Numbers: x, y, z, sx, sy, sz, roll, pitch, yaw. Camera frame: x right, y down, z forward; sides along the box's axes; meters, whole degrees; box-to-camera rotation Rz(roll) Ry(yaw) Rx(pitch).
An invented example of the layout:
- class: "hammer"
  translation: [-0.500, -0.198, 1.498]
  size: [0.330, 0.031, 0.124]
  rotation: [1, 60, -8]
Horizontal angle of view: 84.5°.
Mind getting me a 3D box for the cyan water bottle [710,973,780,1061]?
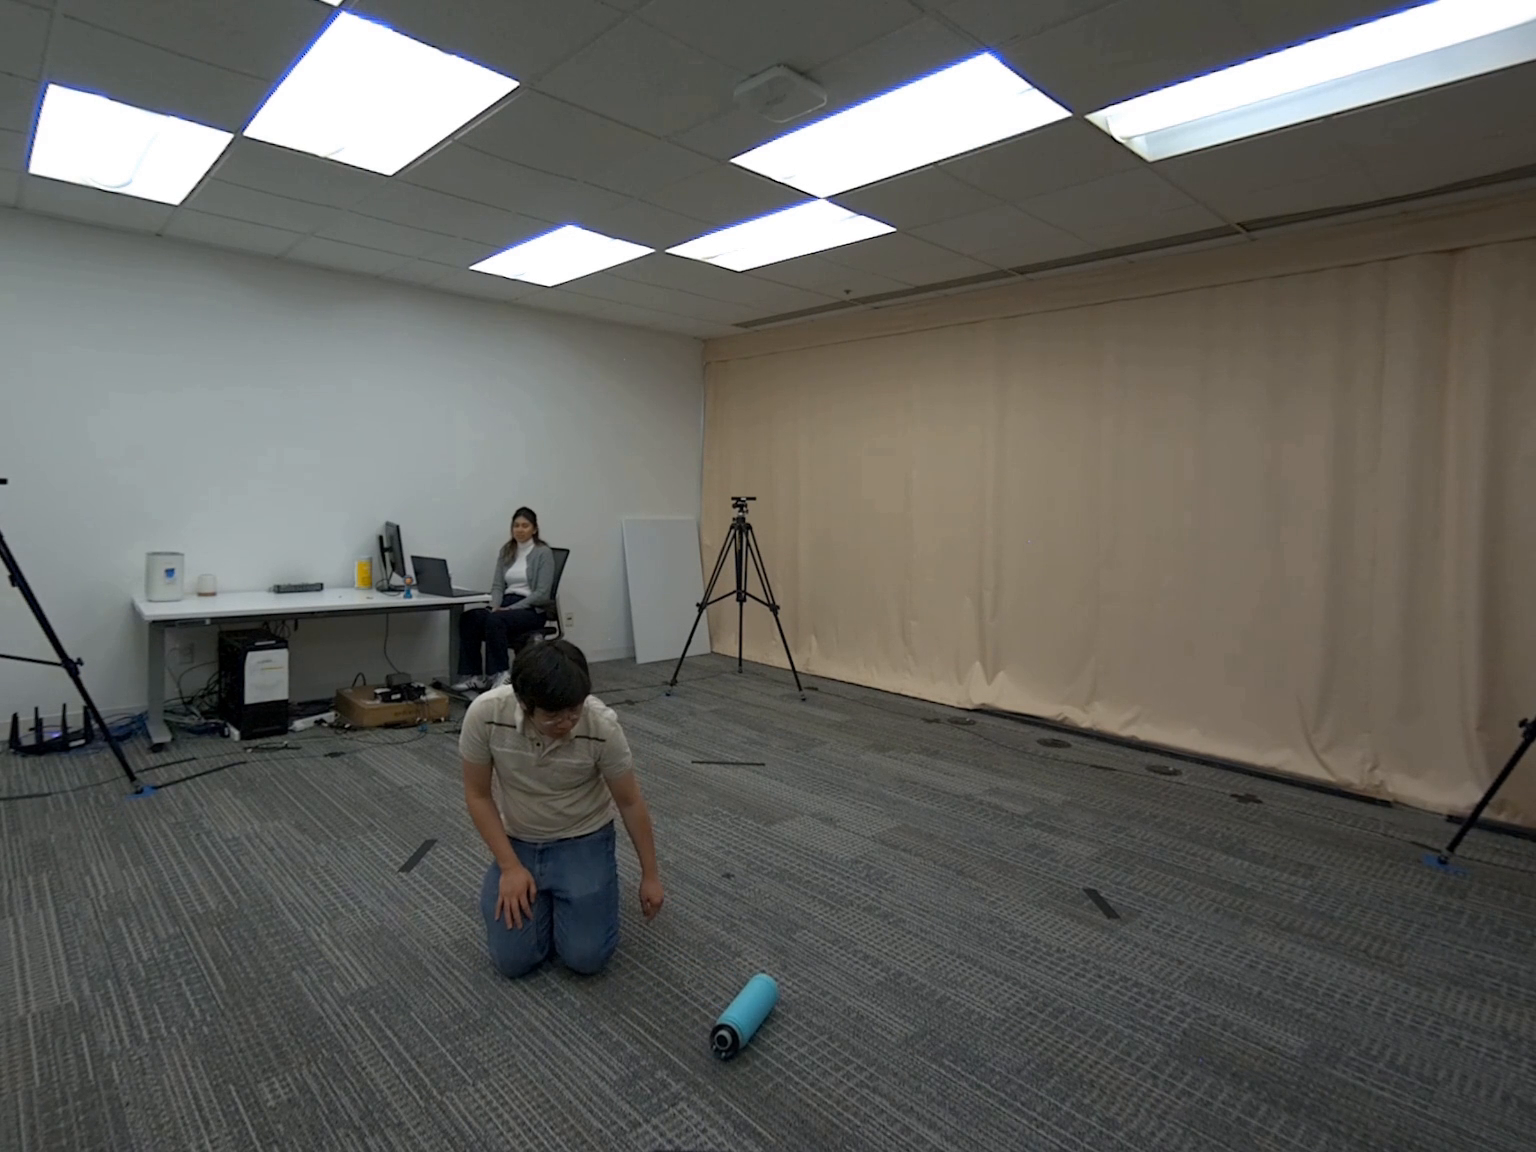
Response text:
- class: "cyan water bottle"
  translation: [-0.070, 1.145, 2.184]
  size: [0.094, 0.092, 0.279]
  rotation: [3, 5, 22]
